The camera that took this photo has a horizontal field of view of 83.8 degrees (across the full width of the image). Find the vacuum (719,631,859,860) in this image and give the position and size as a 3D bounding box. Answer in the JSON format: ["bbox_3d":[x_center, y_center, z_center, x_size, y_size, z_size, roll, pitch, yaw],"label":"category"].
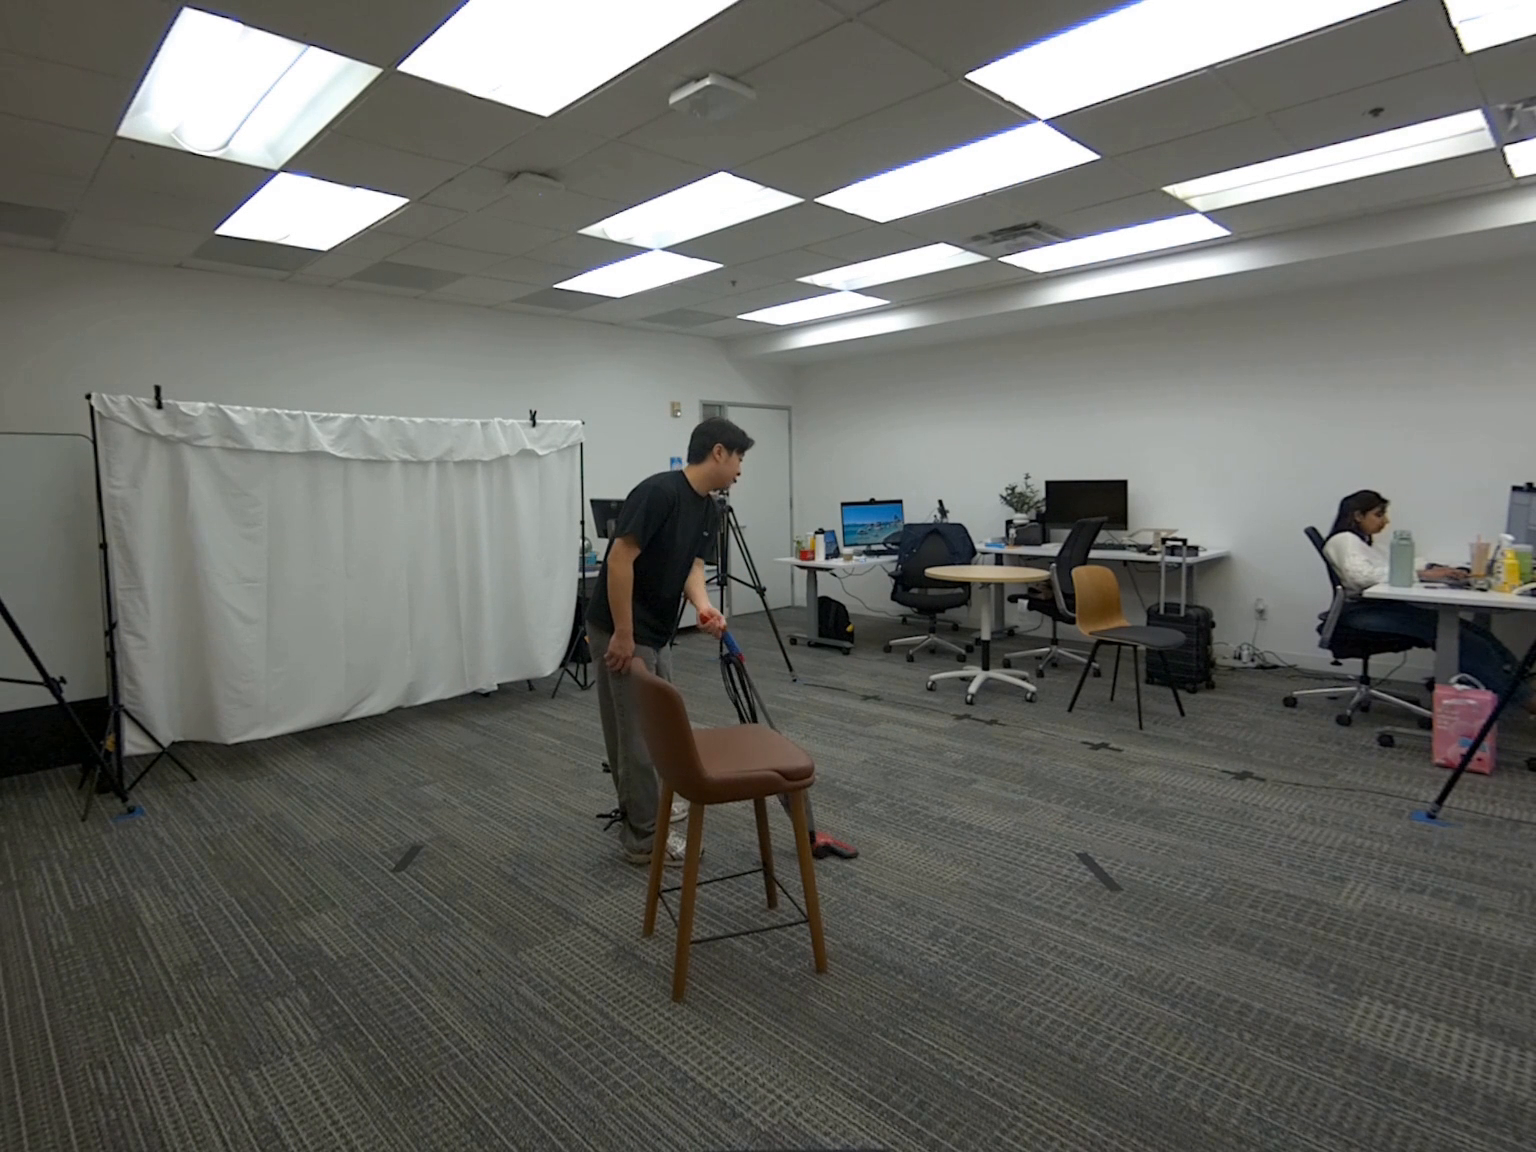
[{"bbox_3d":[-0.002,0.579,3.075,0.143,1.027,0.259,-36,20,-28],"label":"vacuum"}]
